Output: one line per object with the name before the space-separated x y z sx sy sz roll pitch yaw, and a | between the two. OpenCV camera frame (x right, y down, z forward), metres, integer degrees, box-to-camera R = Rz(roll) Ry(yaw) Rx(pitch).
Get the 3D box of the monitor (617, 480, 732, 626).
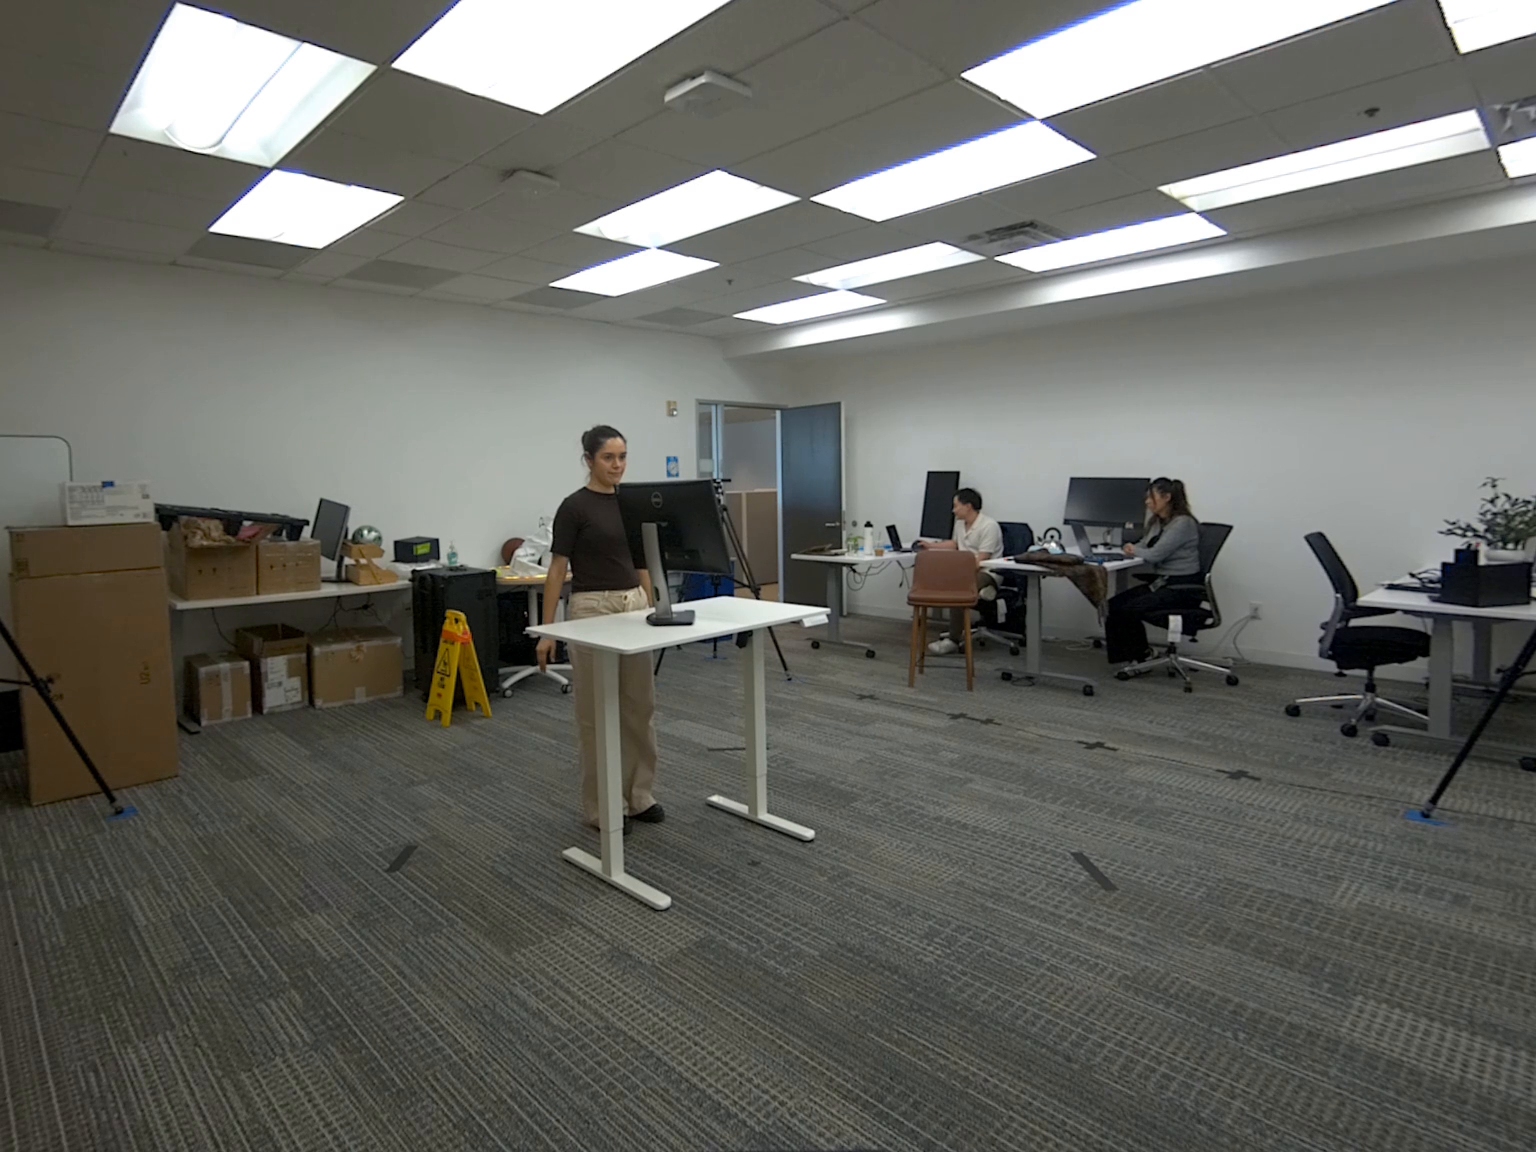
monitor | -0.380 -0.090 3.159 0.555 0.521 0.182 1 4 39
